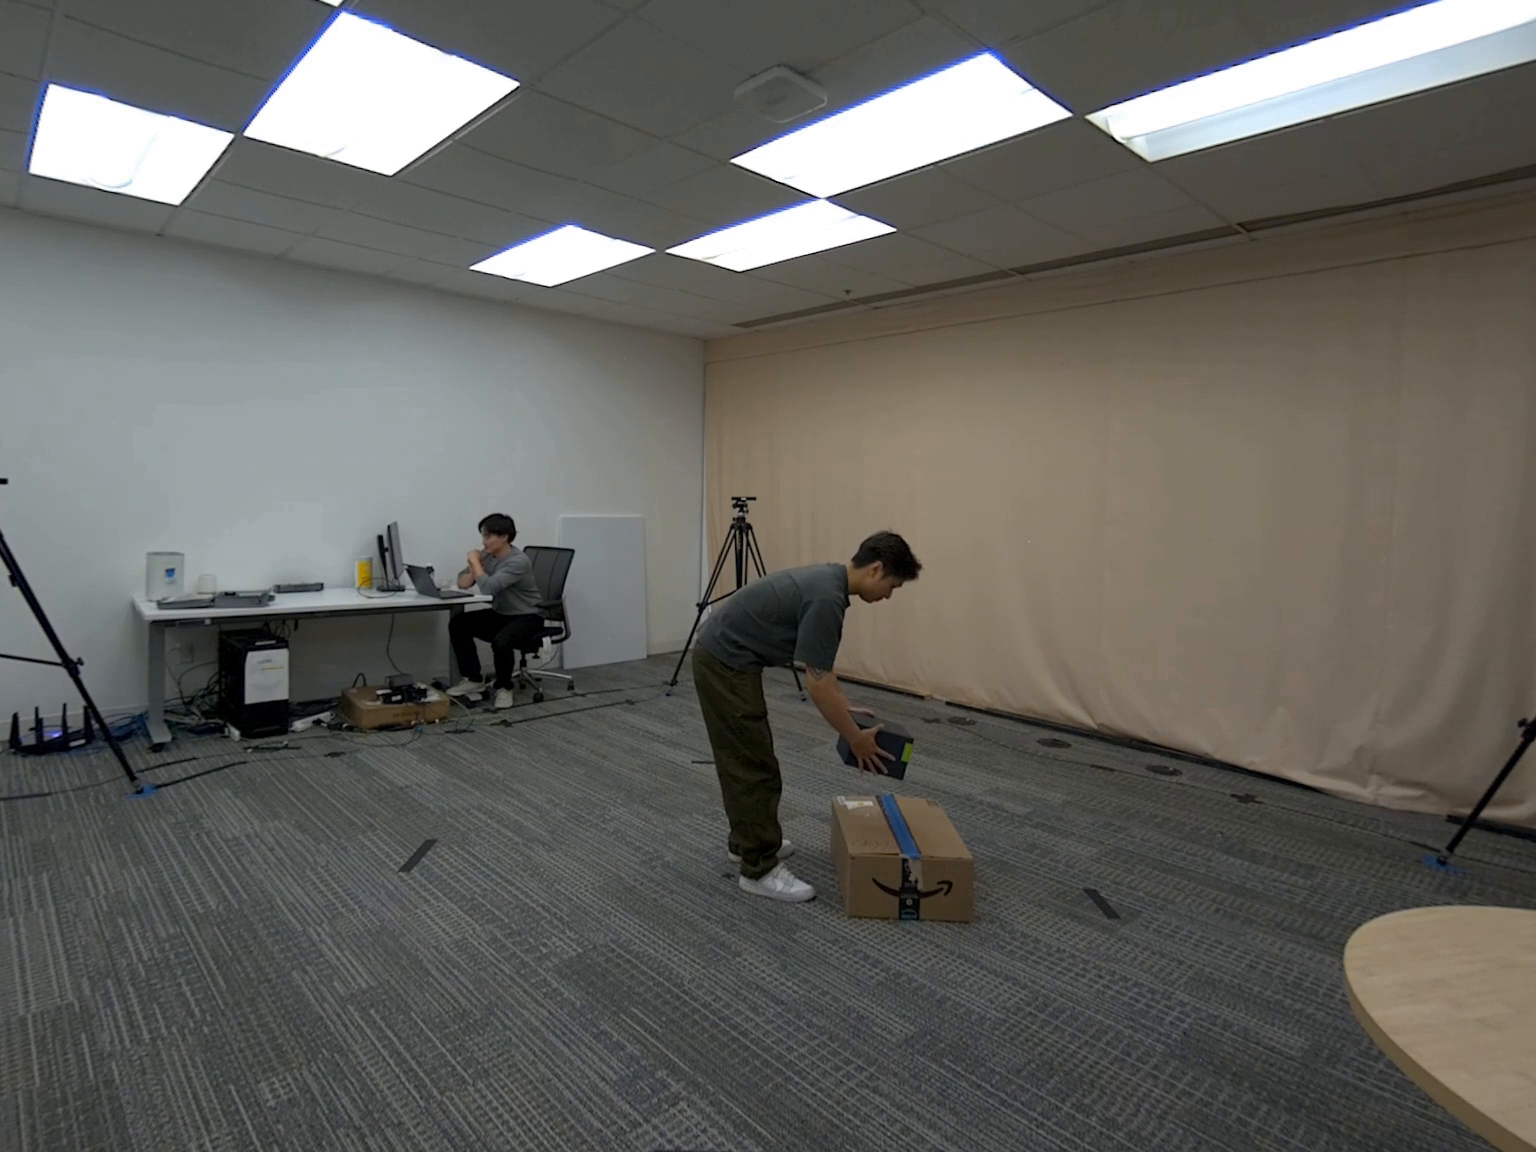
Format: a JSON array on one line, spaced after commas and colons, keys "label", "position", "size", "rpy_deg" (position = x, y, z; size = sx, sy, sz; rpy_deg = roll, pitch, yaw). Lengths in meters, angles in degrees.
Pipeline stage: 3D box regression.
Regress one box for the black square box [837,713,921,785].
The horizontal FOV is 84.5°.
[{"label": "black square box", "position": [0.394, 0.617, 3.066], "size": [0.216, 0.156, 0.229], "rpy_deg": [16, 1, -4]}]
